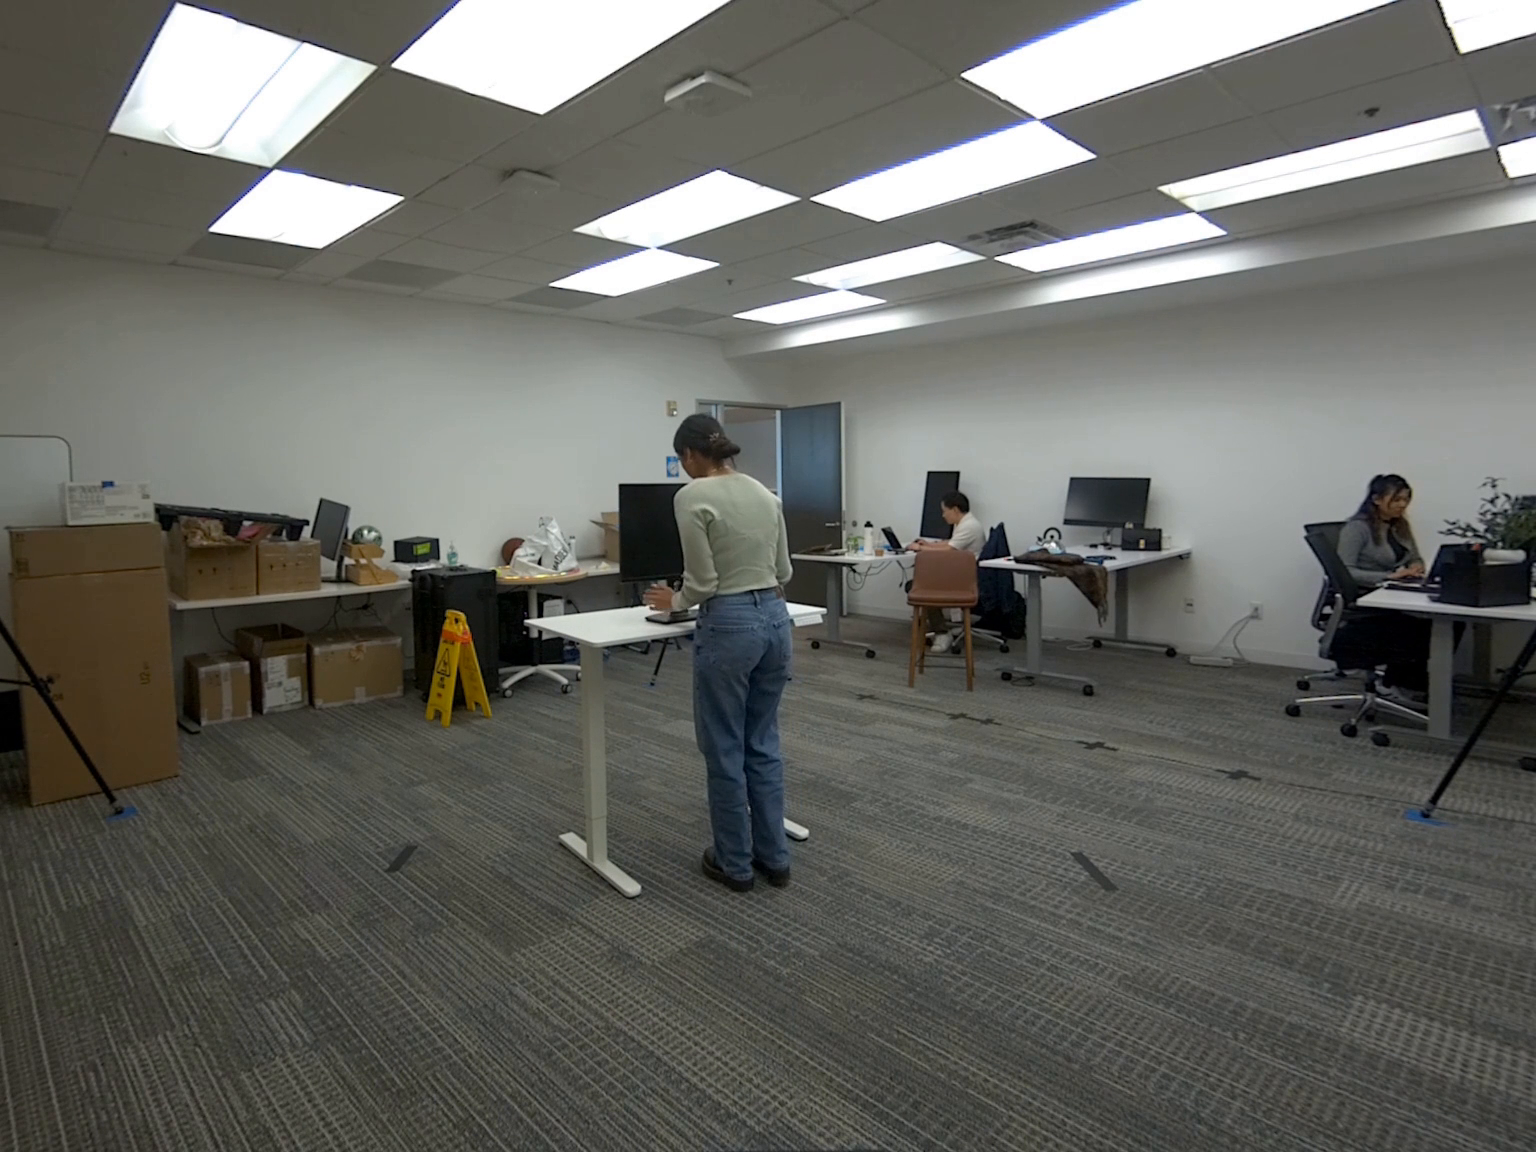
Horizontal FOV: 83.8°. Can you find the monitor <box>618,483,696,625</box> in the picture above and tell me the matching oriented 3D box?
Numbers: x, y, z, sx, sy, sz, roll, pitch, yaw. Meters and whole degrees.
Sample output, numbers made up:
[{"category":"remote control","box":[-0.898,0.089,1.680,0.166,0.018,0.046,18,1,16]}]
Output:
[{"category":"monitor","box":[-0.318,-0.085,3.174,0.525,0.519,0.193,-5,11,-38]}]
